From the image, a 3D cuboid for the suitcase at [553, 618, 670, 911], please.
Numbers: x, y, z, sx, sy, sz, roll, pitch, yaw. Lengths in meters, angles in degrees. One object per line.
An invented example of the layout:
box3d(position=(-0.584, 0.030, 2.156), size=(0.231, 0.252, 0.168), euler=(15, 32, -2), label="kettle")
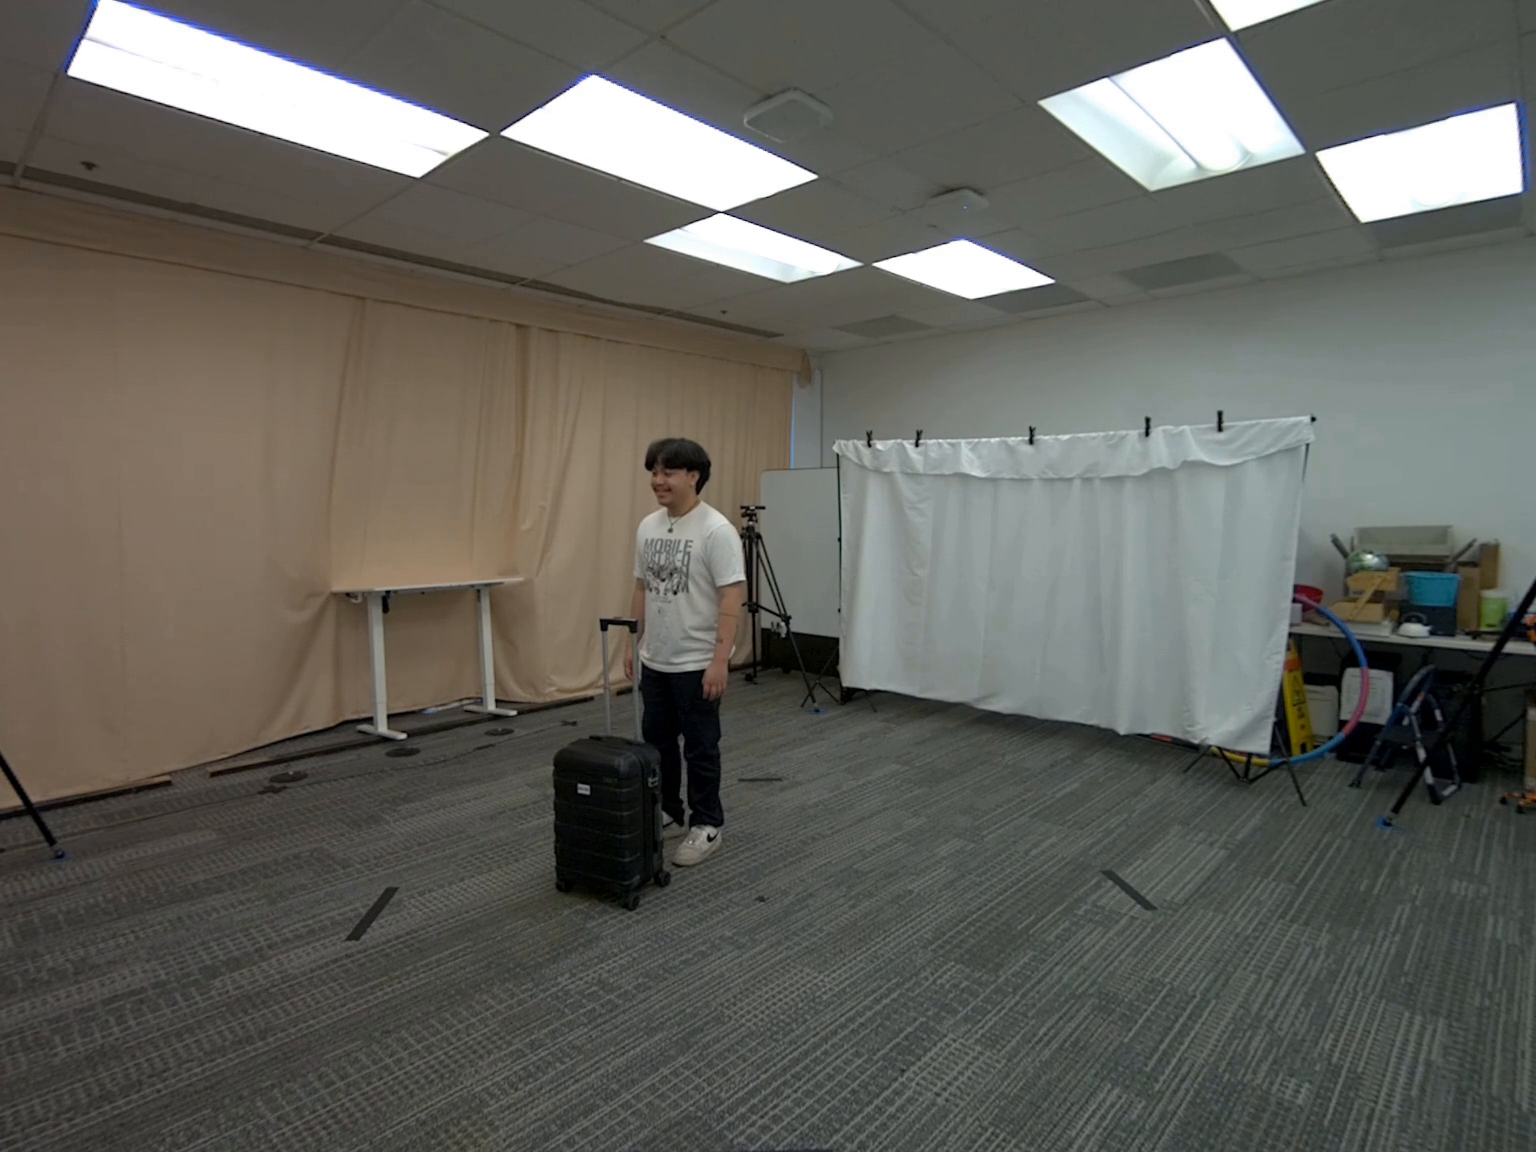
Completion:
box3d(position=(-0.588, 0.671, 3.029), size=(0.394, 0.974, 0.251), euler=(1, 7, 27), label="suitcase")
